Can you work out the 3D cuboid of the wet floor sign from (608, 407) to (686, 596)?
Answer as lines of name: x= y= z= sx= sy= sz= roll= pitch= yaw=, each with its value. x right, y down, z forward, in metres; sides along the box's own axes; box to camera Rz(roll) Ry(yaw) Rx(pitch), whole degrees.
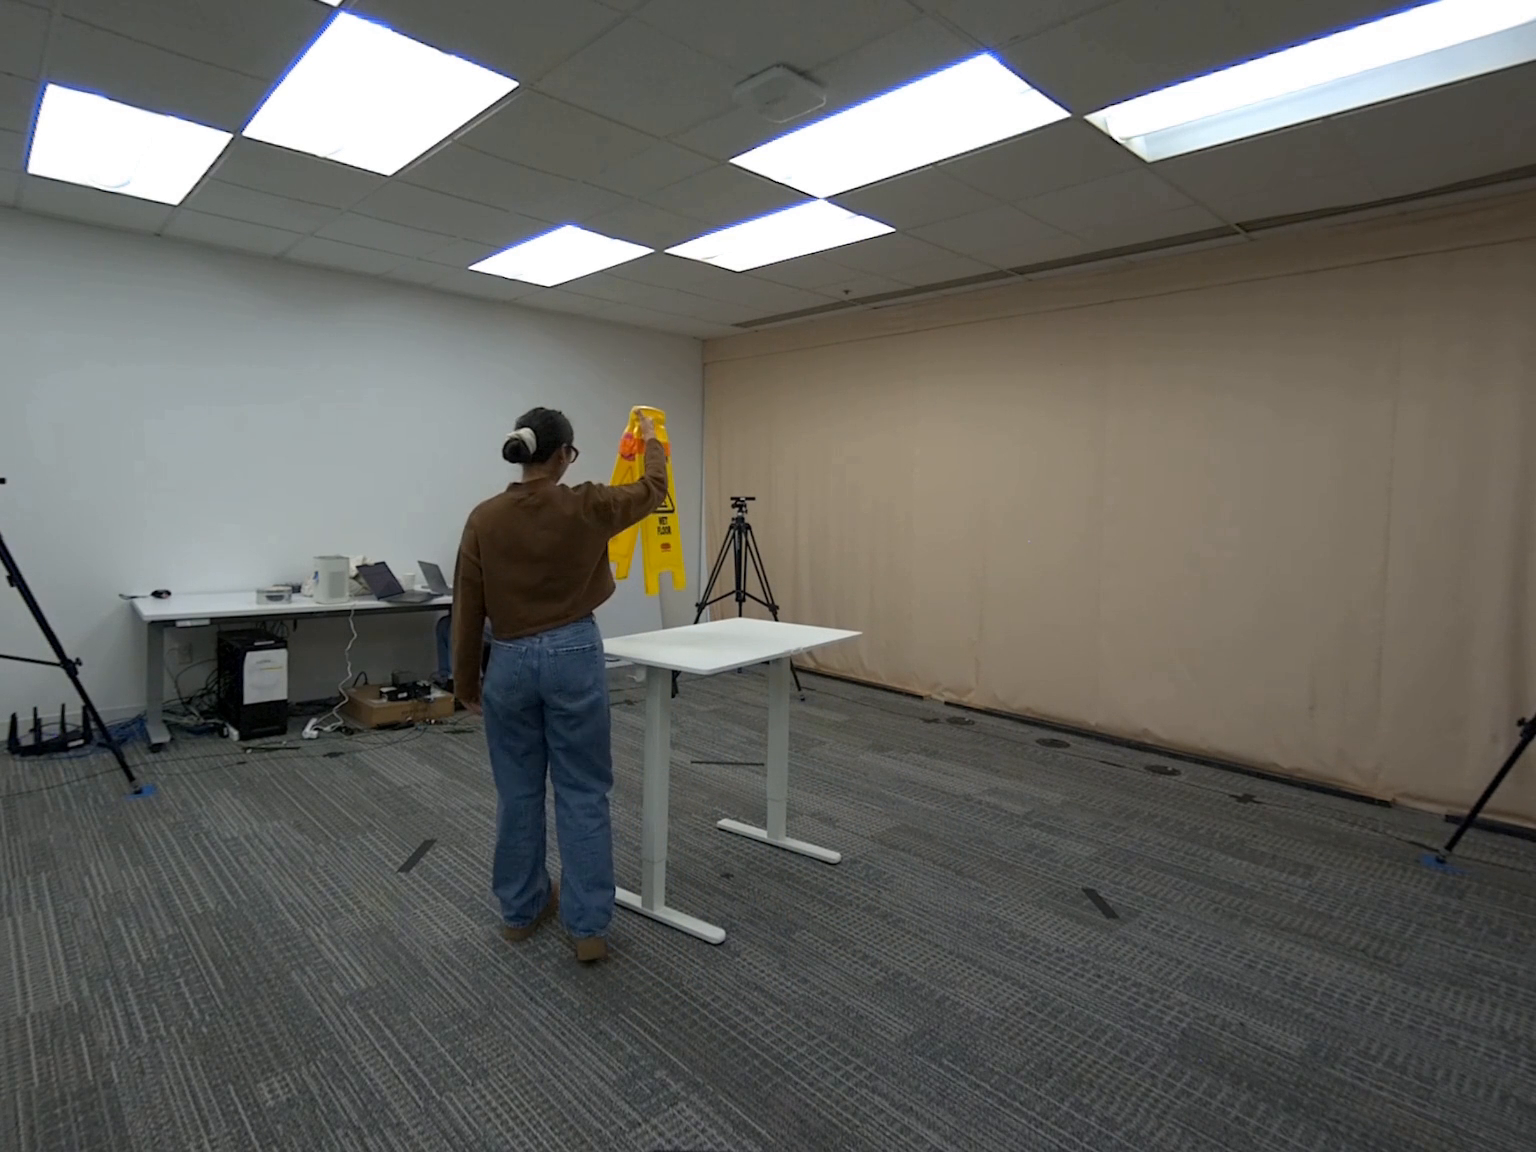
wet floor sign: x=-0.457 y=-0.277 z=3.032 sx=0.295 sy=0.643 sz=0.278 roll=8 pitch=7 yaw=23
